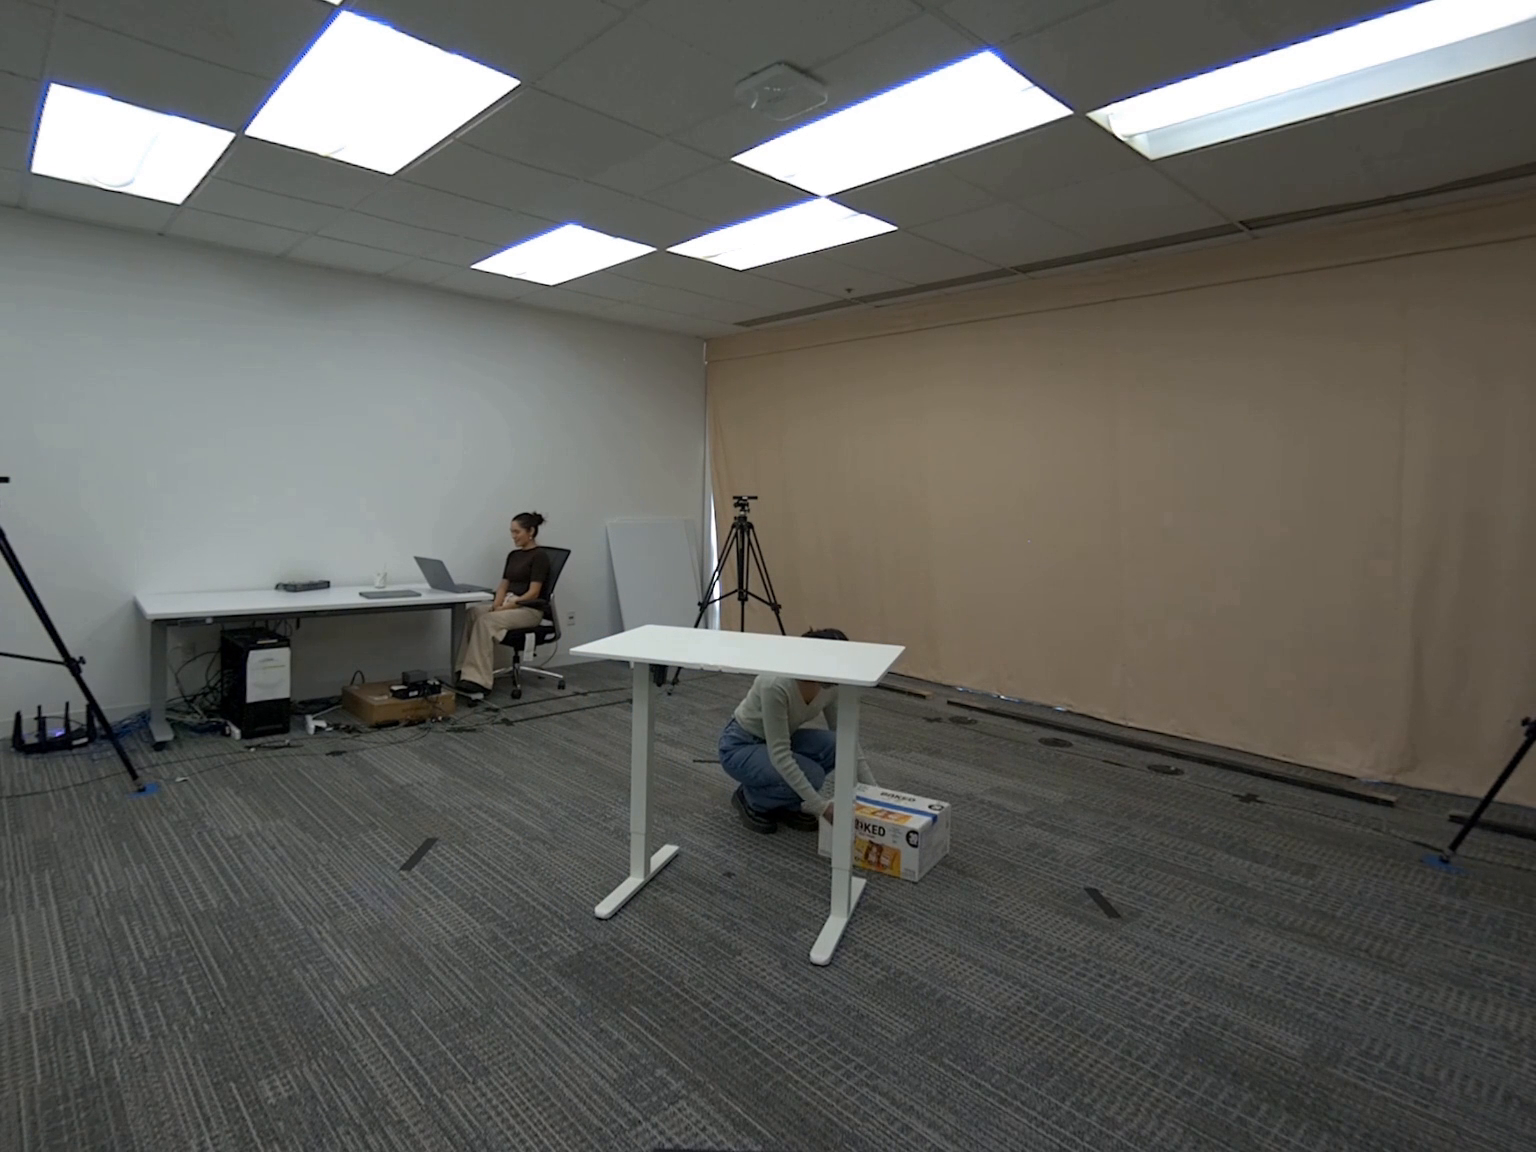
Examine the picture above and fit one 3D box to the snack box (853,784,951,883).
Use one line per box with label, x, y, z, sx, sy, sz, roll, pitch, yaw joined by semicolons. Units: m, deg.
snack box;0.459;0.982;3.307;0.415;0.205;0.333;6;7;33
